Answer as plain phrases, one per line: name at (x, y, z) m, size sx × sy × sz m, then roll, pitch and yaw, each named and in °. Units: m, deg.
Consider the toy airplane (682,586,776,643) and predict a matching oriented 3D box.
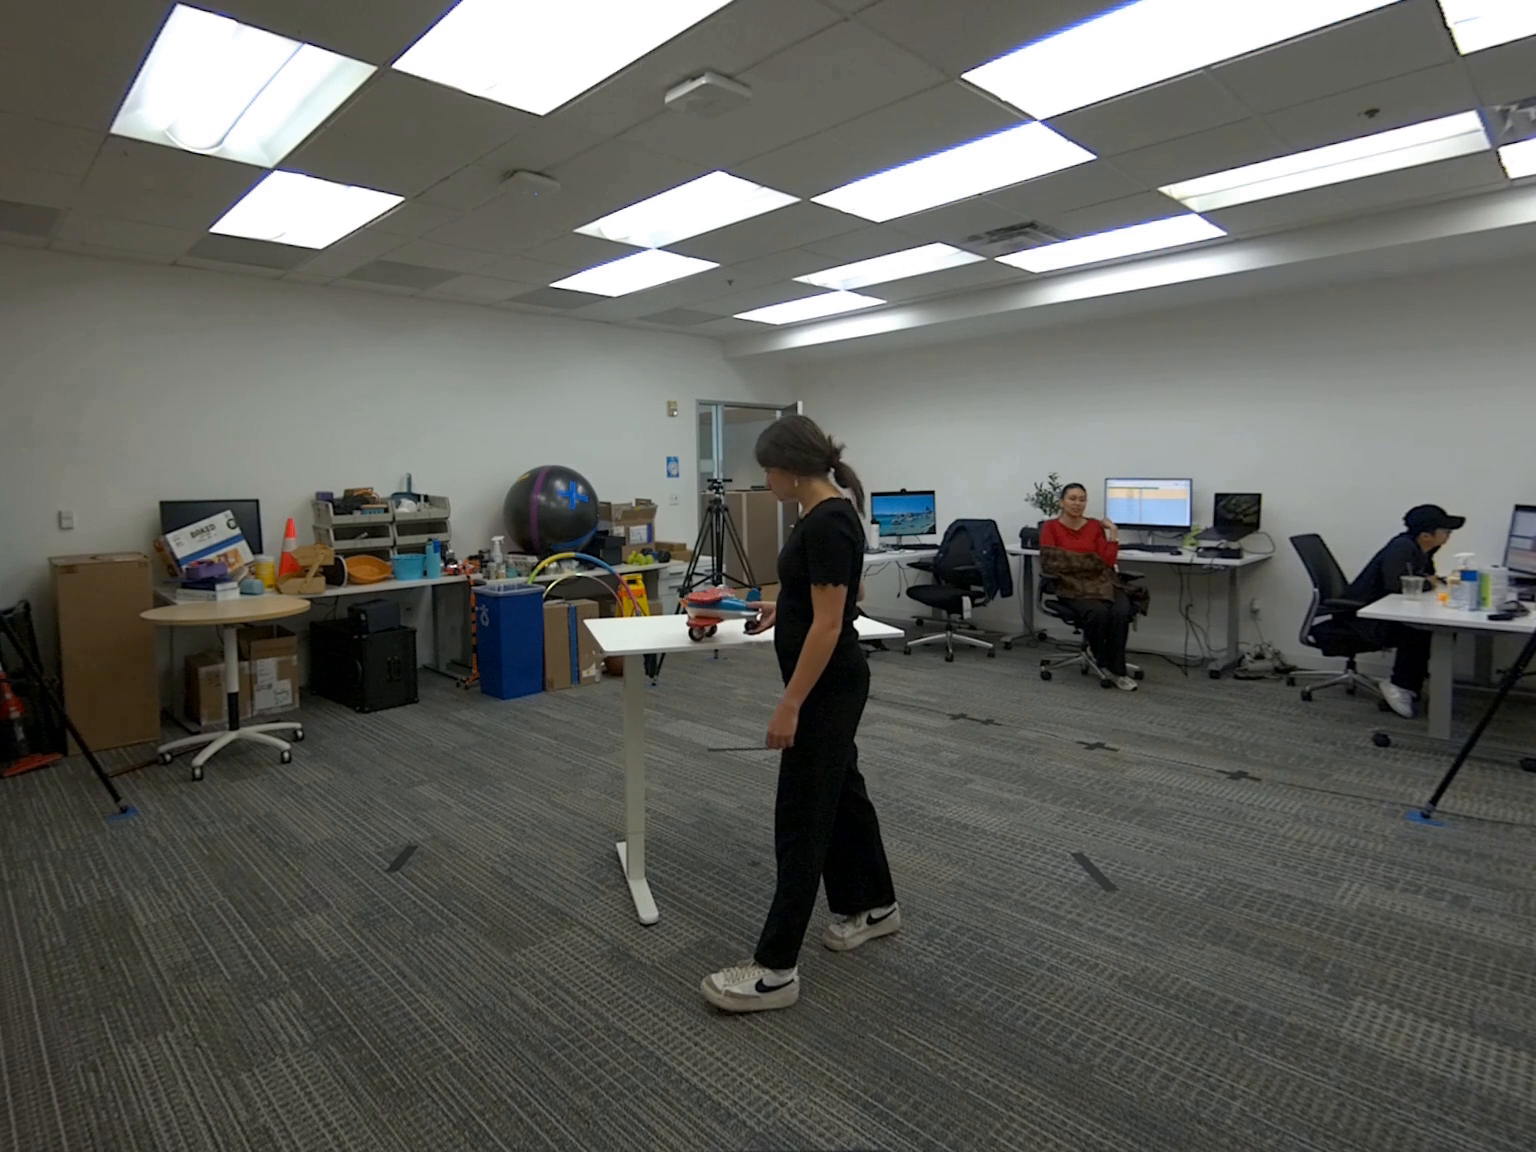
toy airplane at (-0.143, 0.111, 2.751) m, size 0.258 × 0.156 × 0.252 m, roll -12°, pitch 2°, yaw -5°
